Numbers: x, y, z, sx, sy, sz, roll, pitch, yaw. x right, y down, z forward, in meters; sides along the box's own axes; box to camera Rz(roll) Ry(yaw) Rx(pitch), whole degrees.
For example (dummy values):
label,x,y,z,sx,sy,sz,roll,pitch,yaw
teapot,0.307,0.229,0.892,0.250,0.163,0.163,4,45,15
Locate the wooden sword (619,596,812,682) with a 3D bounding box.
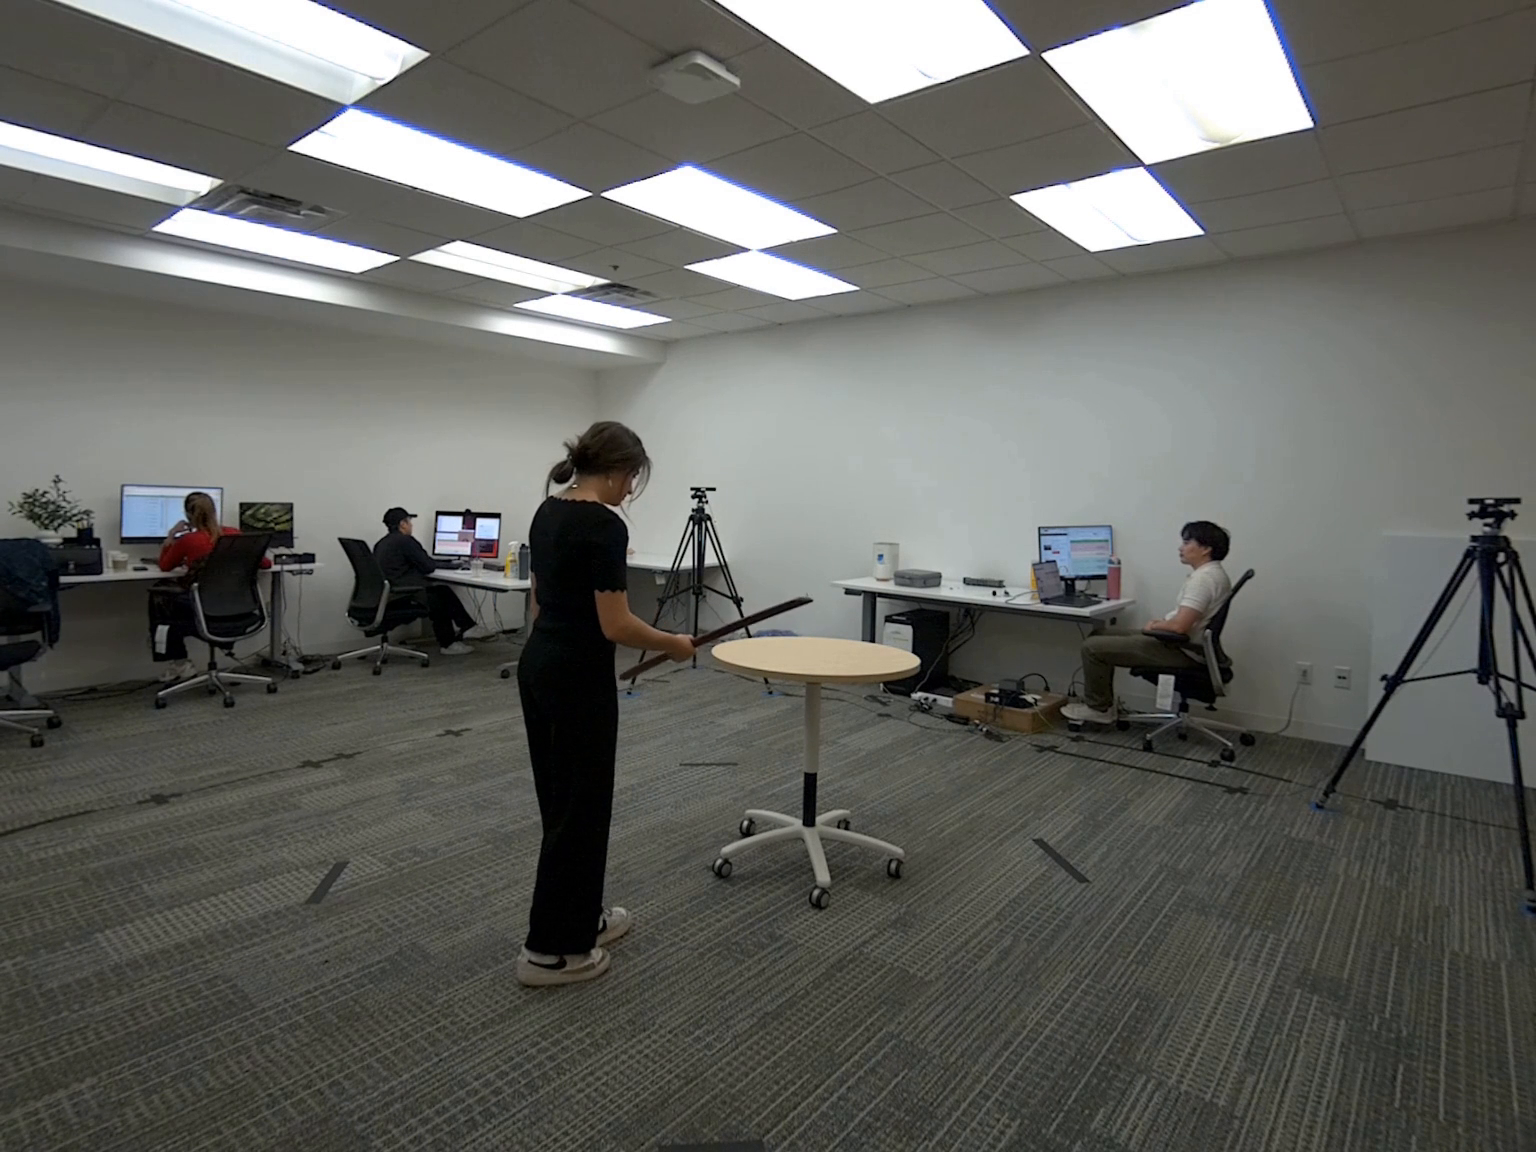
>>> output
label,x,y,z,sx,sy,sz,roll,pitch,yaw
wooden sword,-0.226,0.206,2.532,0.023,0.052,1.038,29,-34,-26
